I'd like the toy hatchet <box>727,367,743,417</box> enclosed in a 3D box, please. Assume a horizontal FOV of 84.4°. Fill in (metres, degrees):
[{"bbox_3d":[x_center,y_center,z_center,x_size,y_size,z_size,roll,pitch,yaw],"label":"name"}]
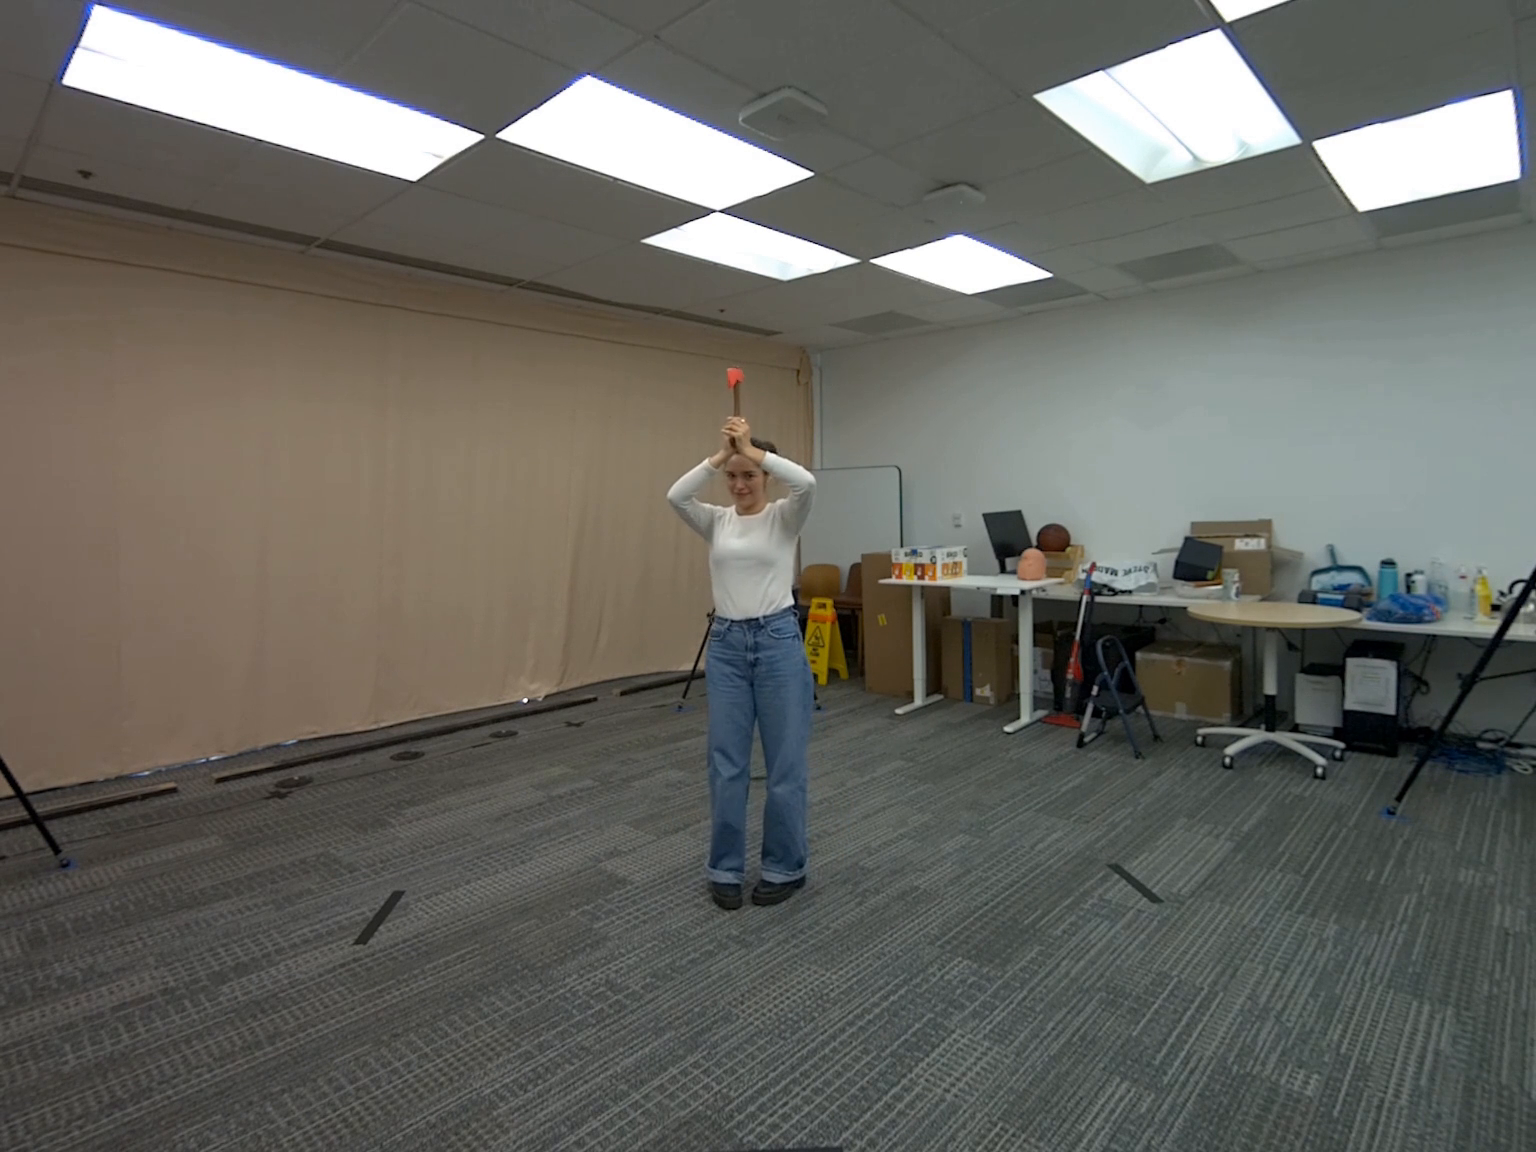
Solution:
[{"bbox_3d":[-0.108,-0.581,2.807,0.030,0.273,0.127,-7,-19,17],"label":"toy hatchet"}]
